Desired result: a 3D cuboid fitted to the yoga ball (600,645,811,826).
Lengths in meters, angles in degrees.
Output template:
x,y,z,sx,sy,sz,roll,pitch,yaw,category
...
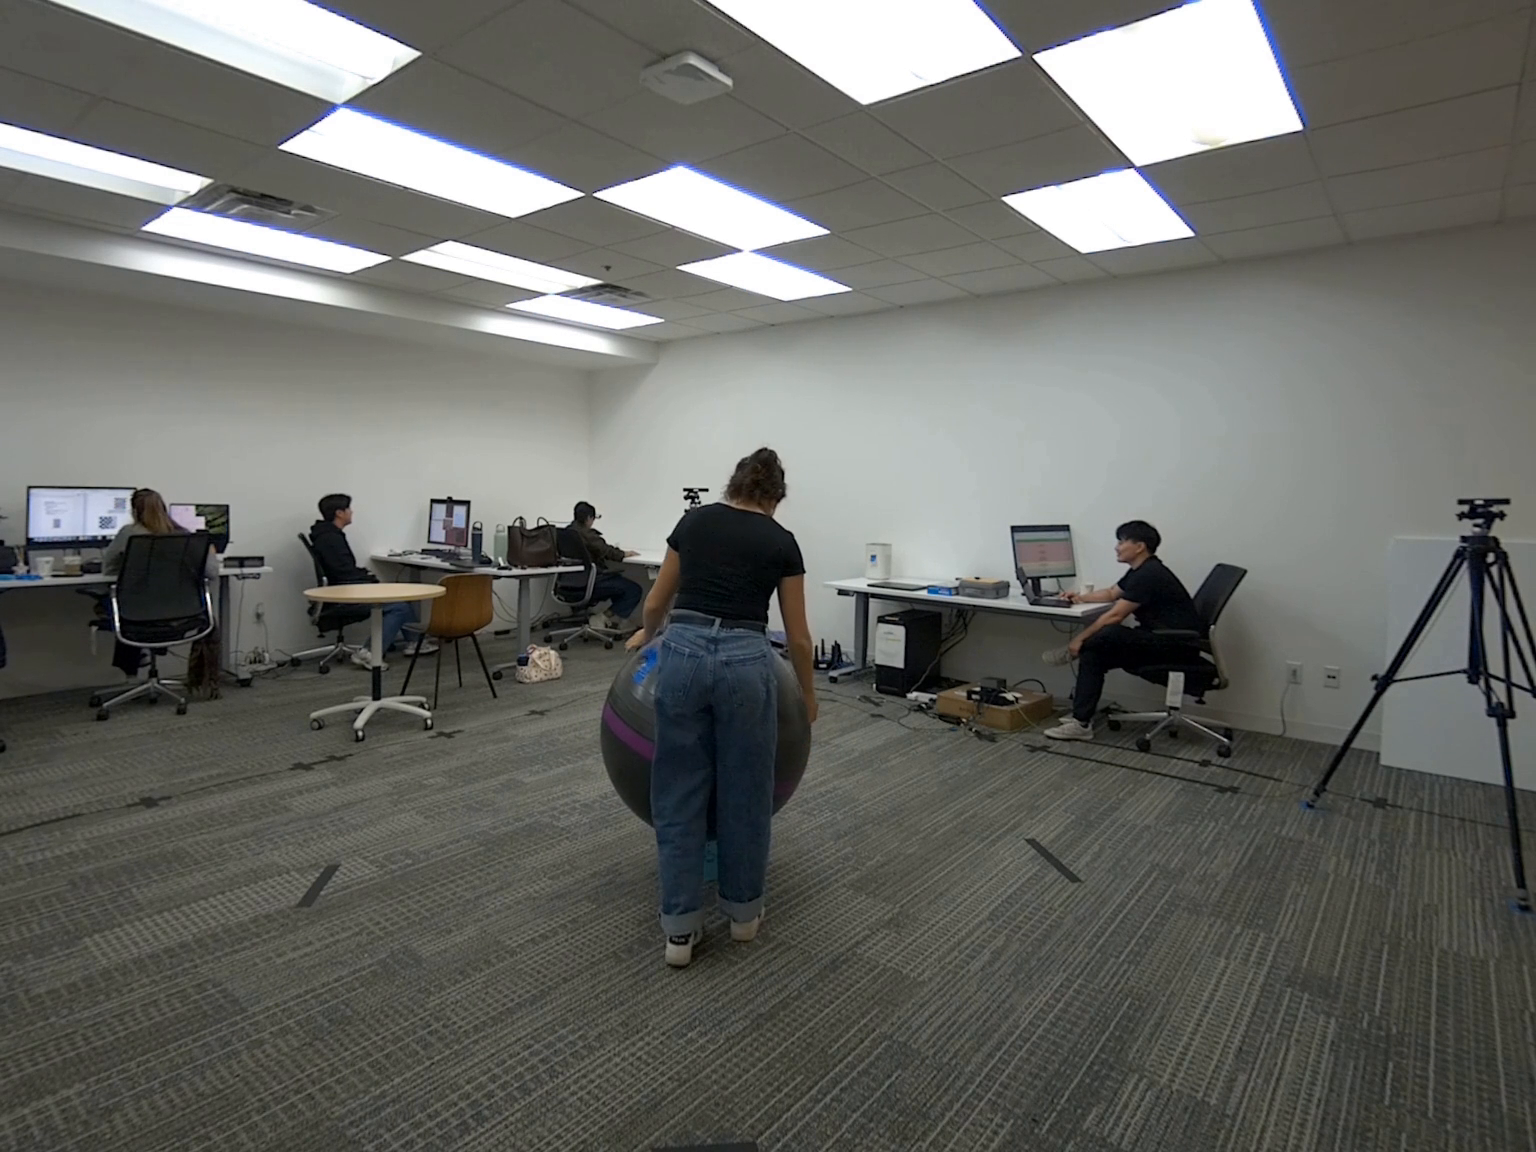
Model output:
x,y,z,sx,sy,sz,roll,pitch,yaw,category
-0.224,0.565,3.084,0.757,0.756,0.762,1,4,-2,yoga ball
